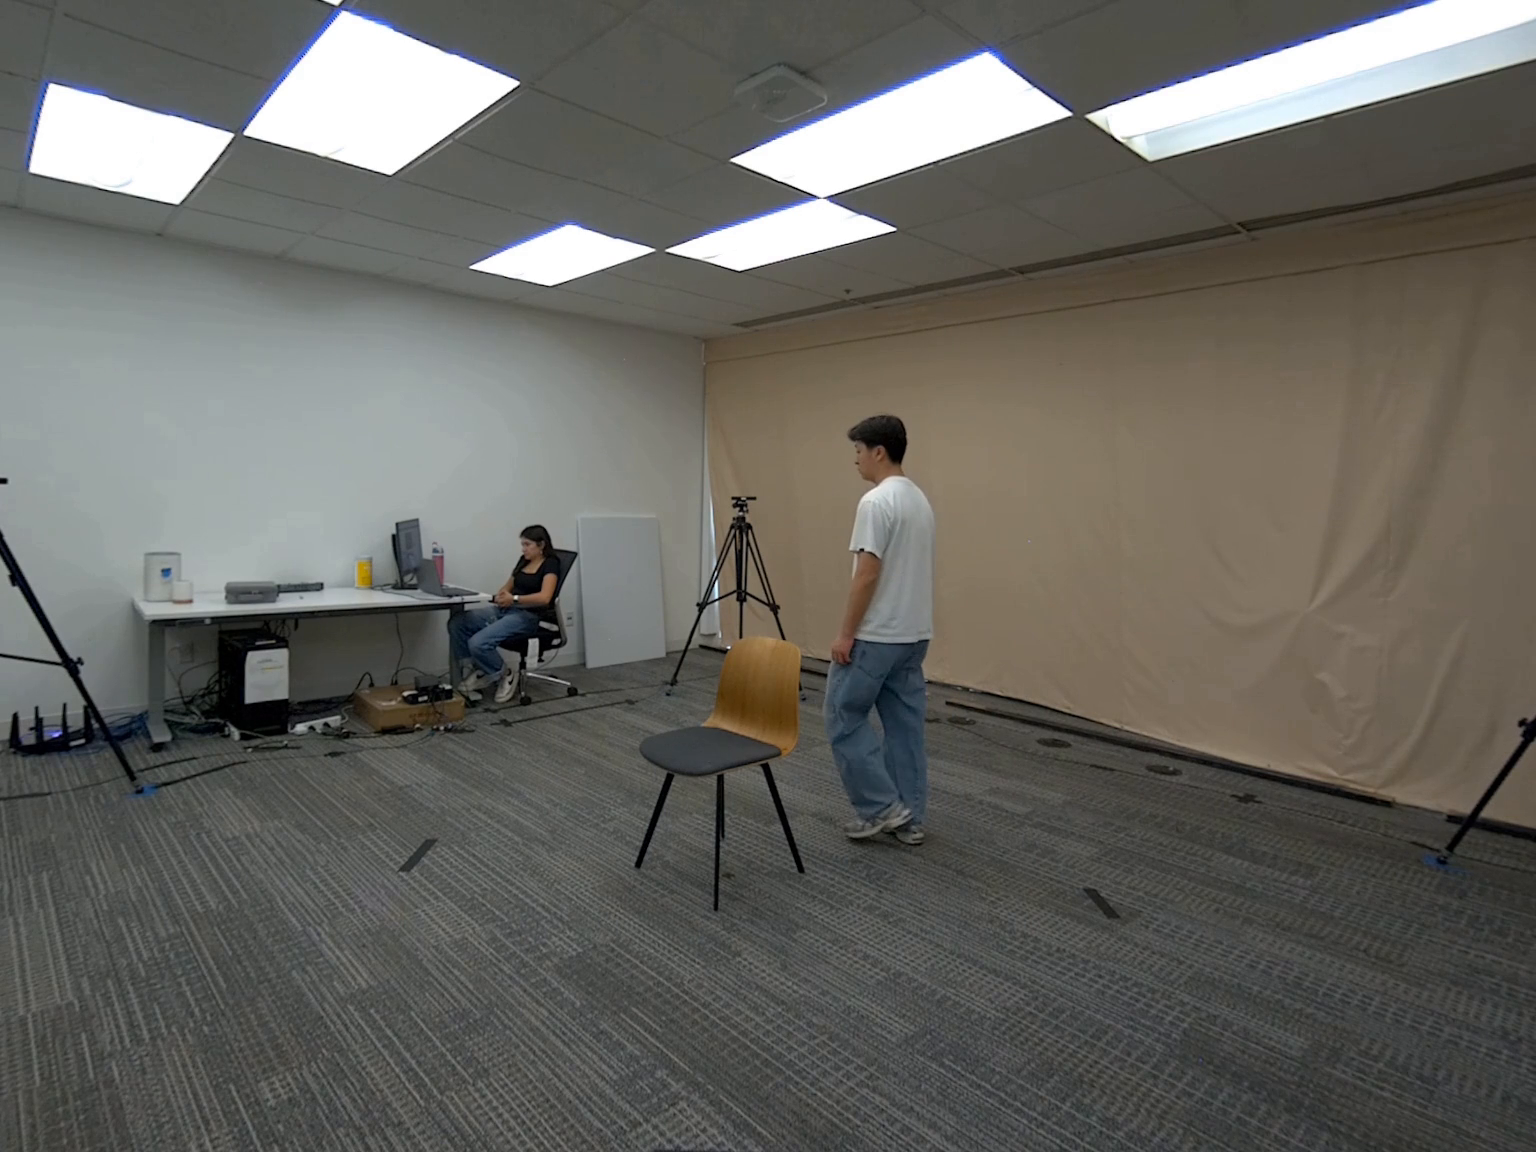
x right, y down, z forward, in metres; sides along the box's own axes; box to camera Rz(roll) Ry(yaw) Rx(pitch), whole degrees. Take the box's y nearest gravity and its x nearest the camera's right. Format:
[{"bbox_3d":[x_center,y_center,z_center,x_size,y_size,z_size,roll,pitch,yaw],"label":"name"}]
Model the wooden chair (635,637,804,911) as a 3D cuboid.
[{"bbox_3d":[-0.181,0.678,3.109,0.510,0.877,0.490,4,0,-45],"label":"wooden chair"}]
